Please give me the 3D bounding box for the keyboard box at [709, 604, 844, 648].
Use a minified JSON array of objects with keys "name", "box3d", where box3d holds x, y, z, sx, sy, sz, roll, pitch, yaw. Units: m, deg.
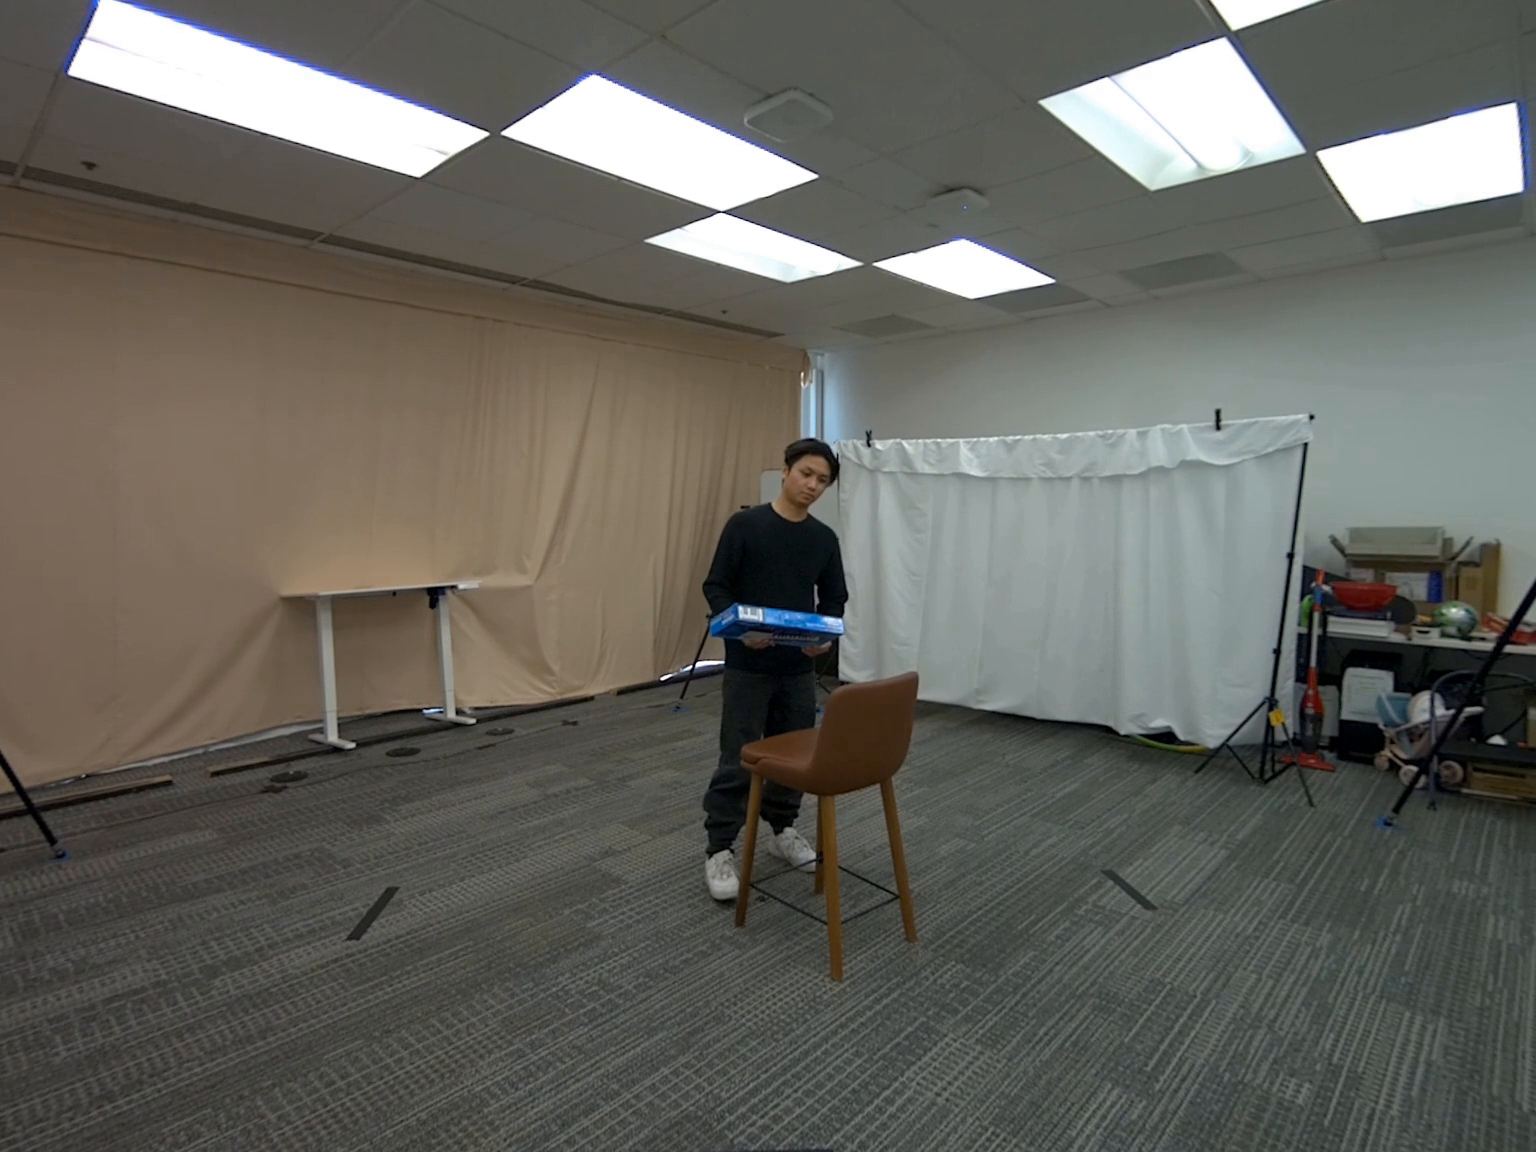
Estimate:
[{"name":"keyboard box","box3d":[0.027,0.172,2.859,0.424,0.060,0.178,9,-27,-29]}]
